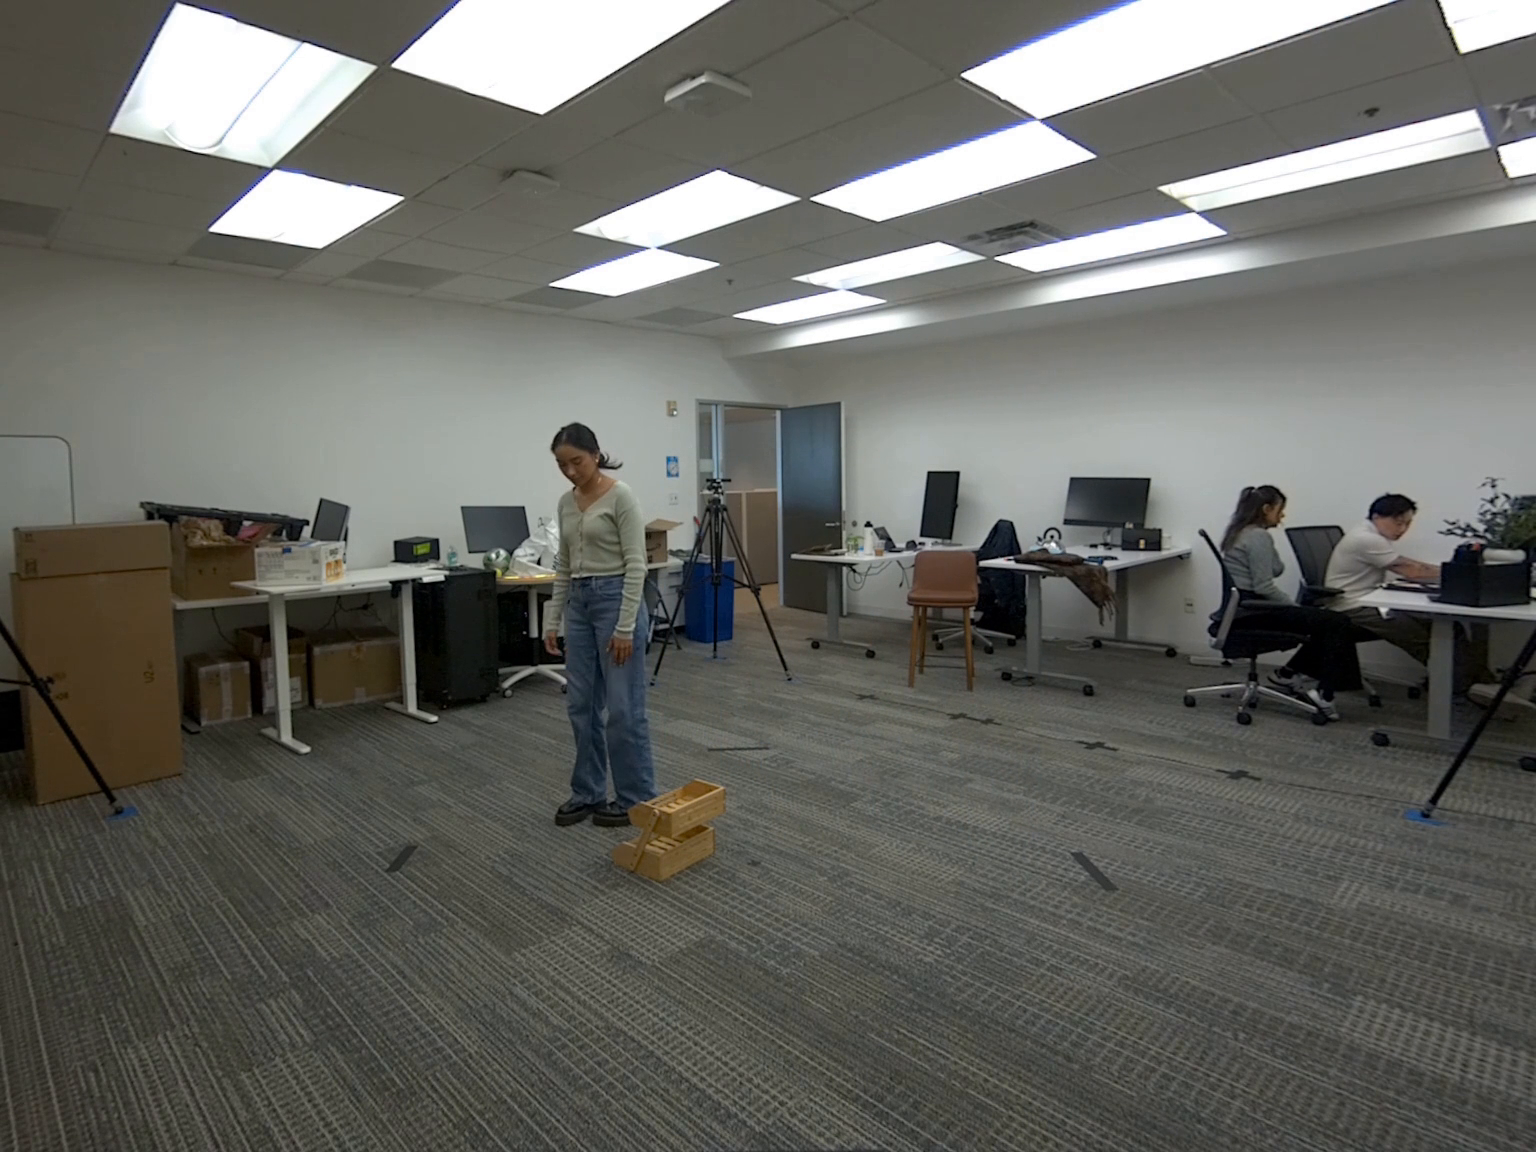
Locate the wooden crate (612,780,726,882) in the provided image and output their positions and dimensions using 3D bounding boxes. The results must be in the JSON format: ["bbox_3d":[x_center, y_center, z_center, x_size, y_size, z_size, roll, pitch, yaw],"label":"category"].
[{"bbox_3d":[-0.365,0.912,3.140,0.311,0.272,0.316,4,7,37],"label":"wooden crate"}]
